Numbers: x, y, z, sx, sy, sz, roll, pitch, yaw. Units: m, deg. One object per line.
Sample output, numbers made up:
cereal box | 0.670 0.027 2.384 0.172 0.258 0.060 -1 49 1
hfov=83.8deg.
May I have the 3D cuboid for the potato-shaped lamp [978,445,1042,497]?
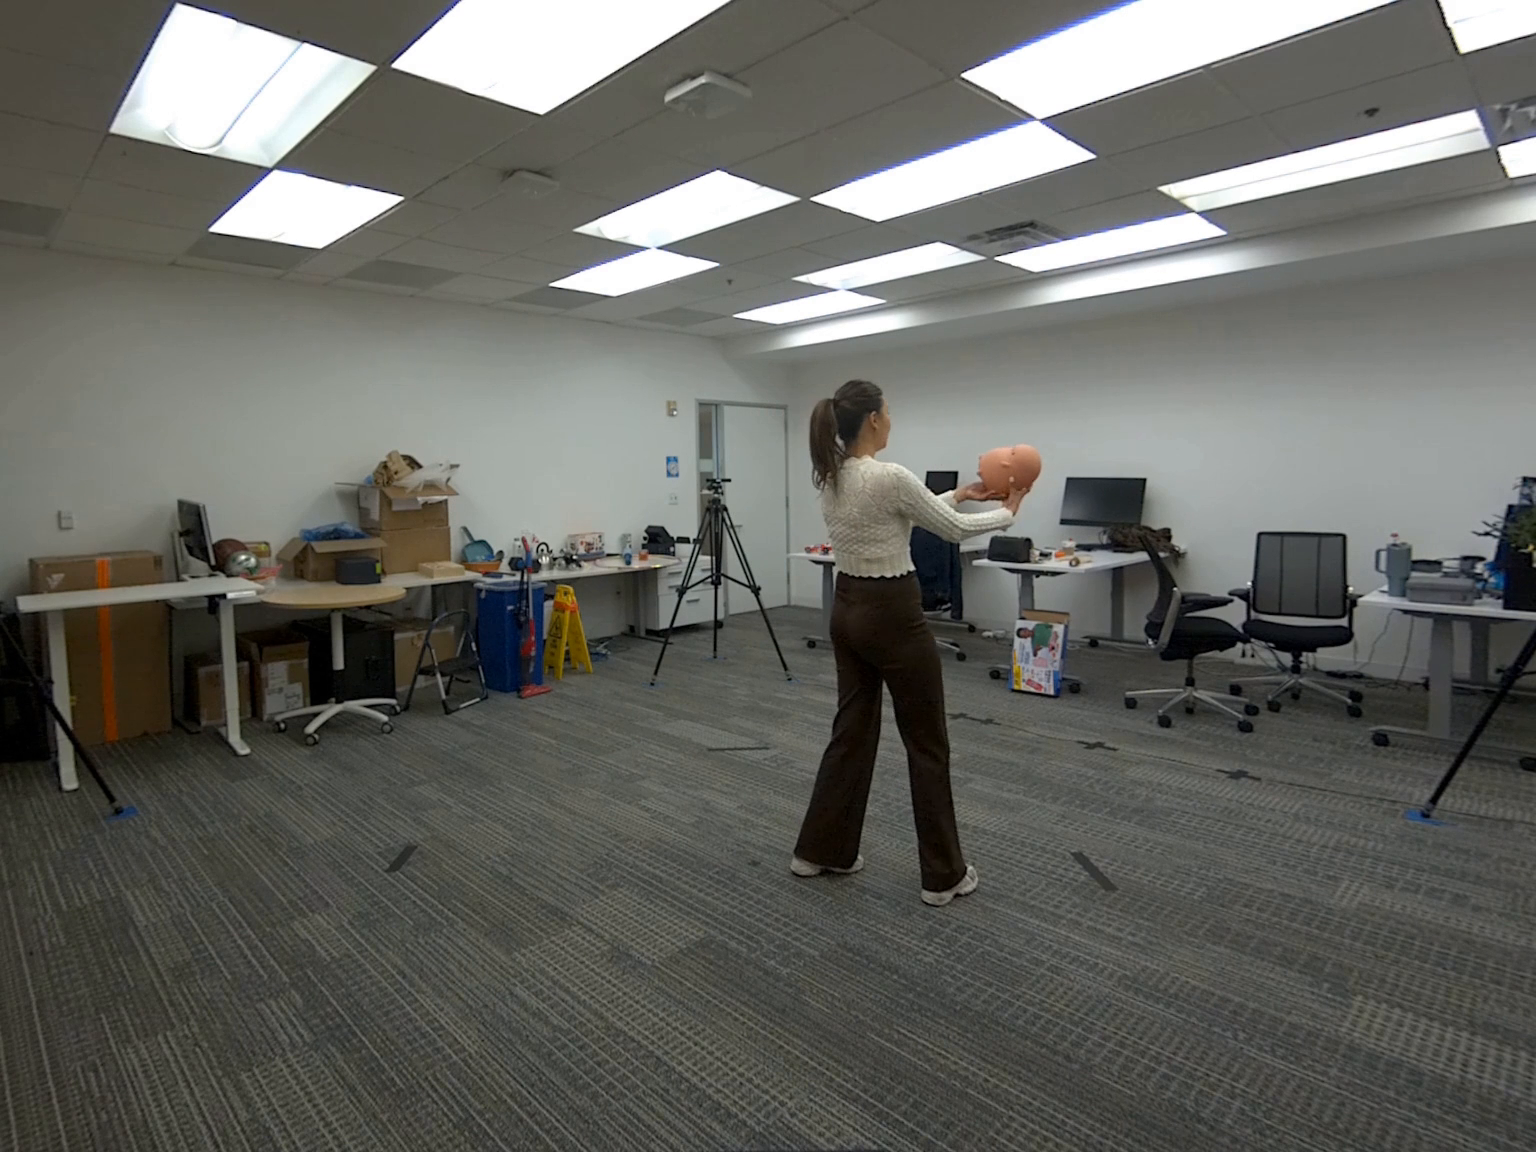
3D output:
potato-shaped lamp | 0.853 -0.380 2.994 0.202 0.169 0.164 -9 14 25
